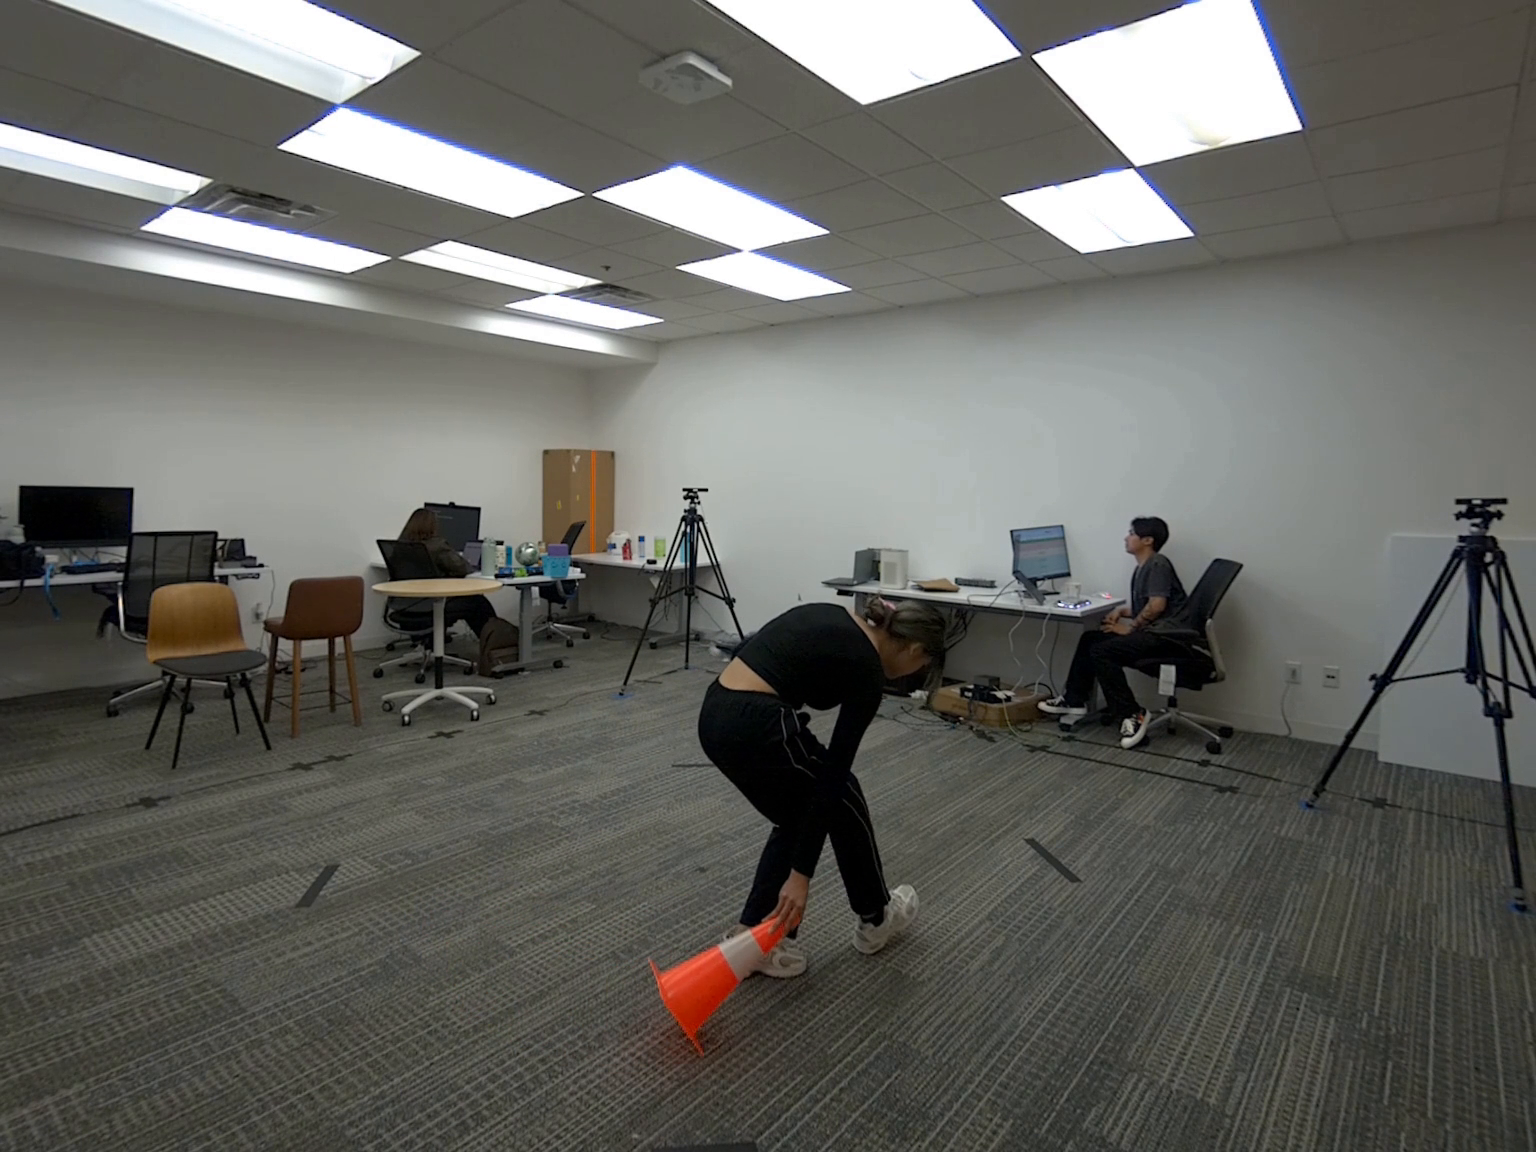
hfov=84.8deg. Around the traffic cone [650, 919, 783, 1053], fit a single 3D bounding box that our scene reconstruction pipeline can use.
[{"bbox_3d":[-0.090,0.984,2.179,0.382,0.200,0.209,-32,13,-8],"label":"traffic cone"}]
